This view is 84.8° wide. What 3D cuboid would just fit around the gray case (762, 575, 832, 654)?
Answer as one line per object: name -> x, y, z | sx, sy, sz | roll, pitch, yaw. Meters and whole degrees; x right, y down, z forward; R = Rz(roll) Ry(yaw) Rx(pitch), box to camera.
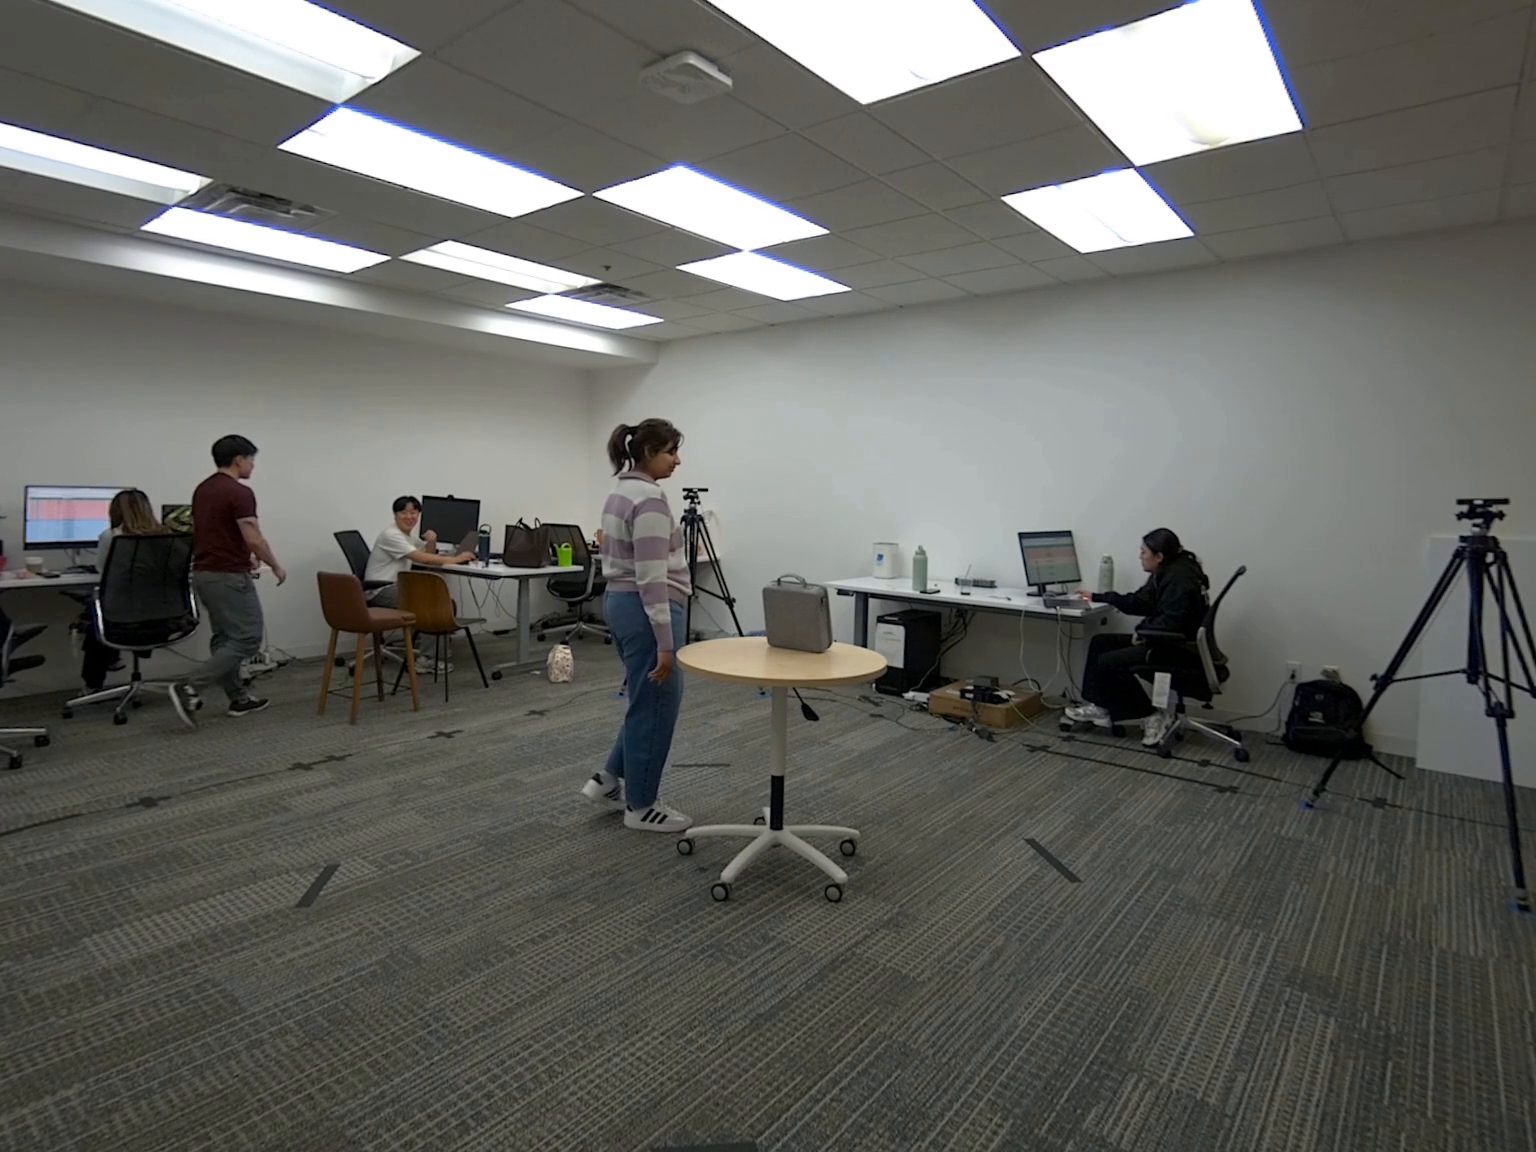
gray case -> 0.106, 0.146, 3.237 | 0.265, 0.257, 0.102 | 4, 17, 36
